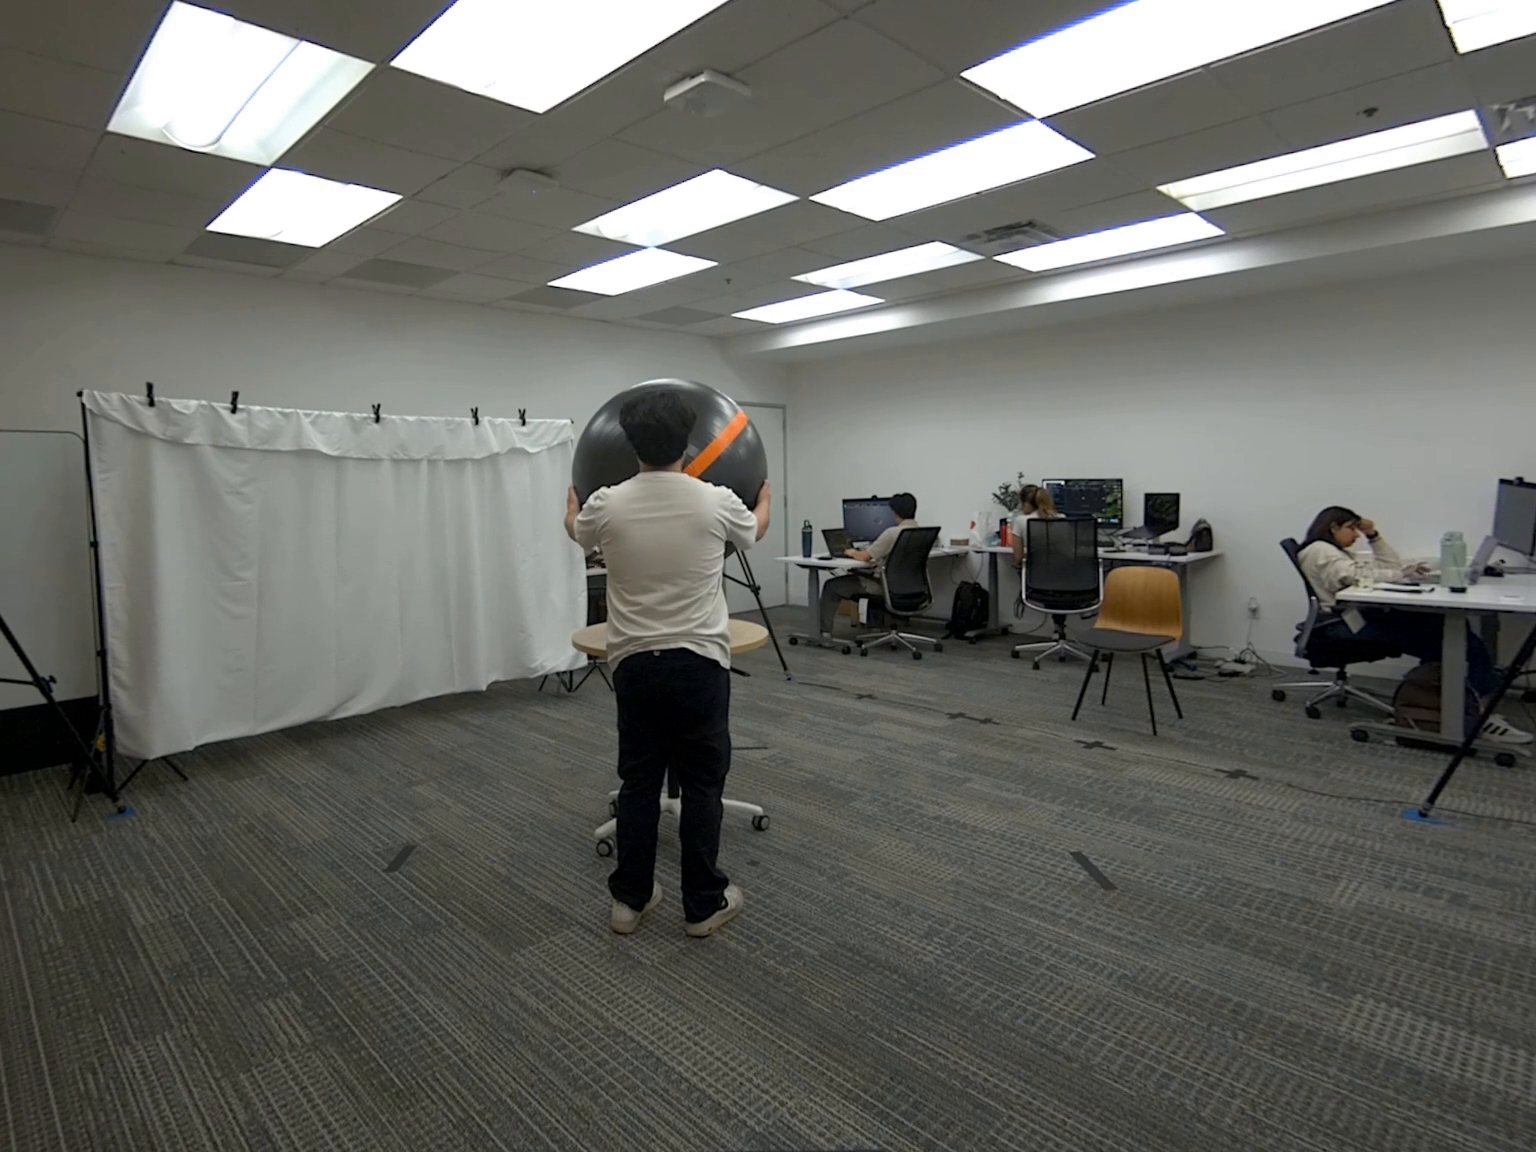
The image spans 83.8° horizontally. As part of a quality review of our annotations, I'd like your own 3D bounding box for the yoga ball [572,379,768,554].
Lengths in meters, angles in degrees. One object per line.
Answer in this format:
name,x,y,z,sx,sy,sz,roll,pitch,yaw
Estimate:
yoga ball,-0.378,-0.375,3.310,0.757,0.755,0.762,-1,5,-2
